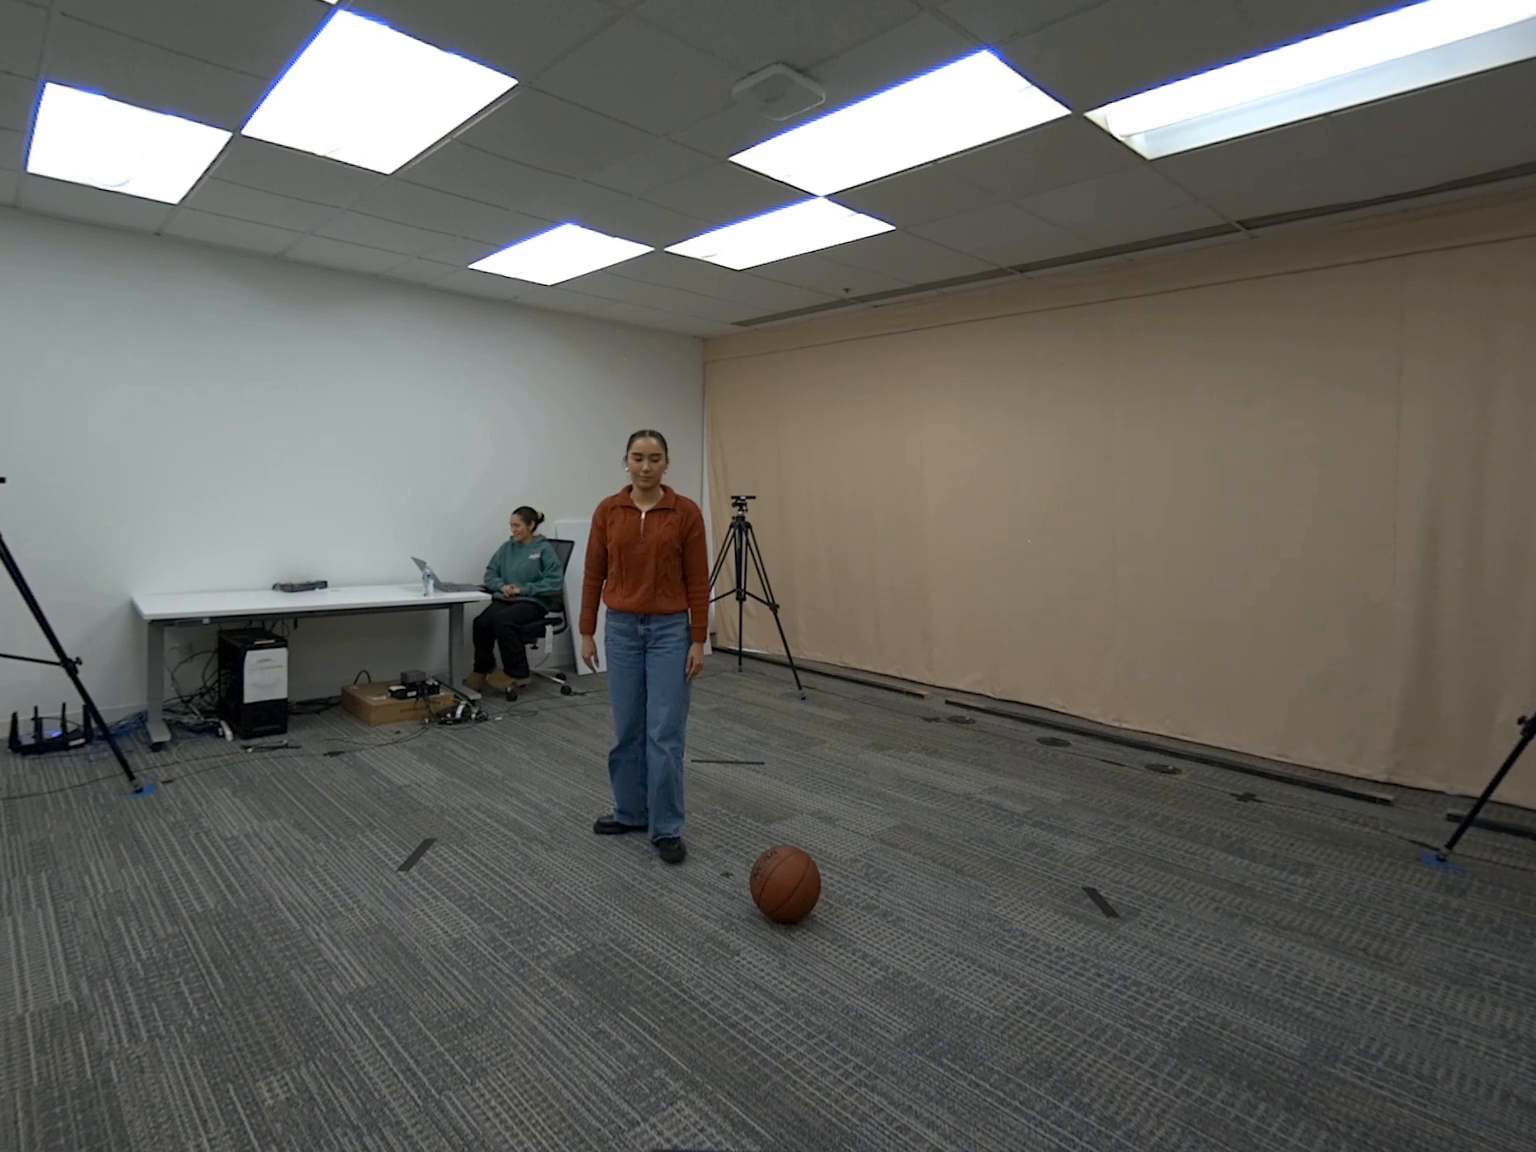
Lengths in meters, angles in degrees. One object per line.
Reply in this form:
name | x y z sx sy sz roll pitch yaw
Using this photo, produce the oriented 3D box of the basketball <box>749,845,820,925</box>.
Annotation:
basketball | 0.050 1.011 2.779 0.236 0.235 0.237 1 4 -1
